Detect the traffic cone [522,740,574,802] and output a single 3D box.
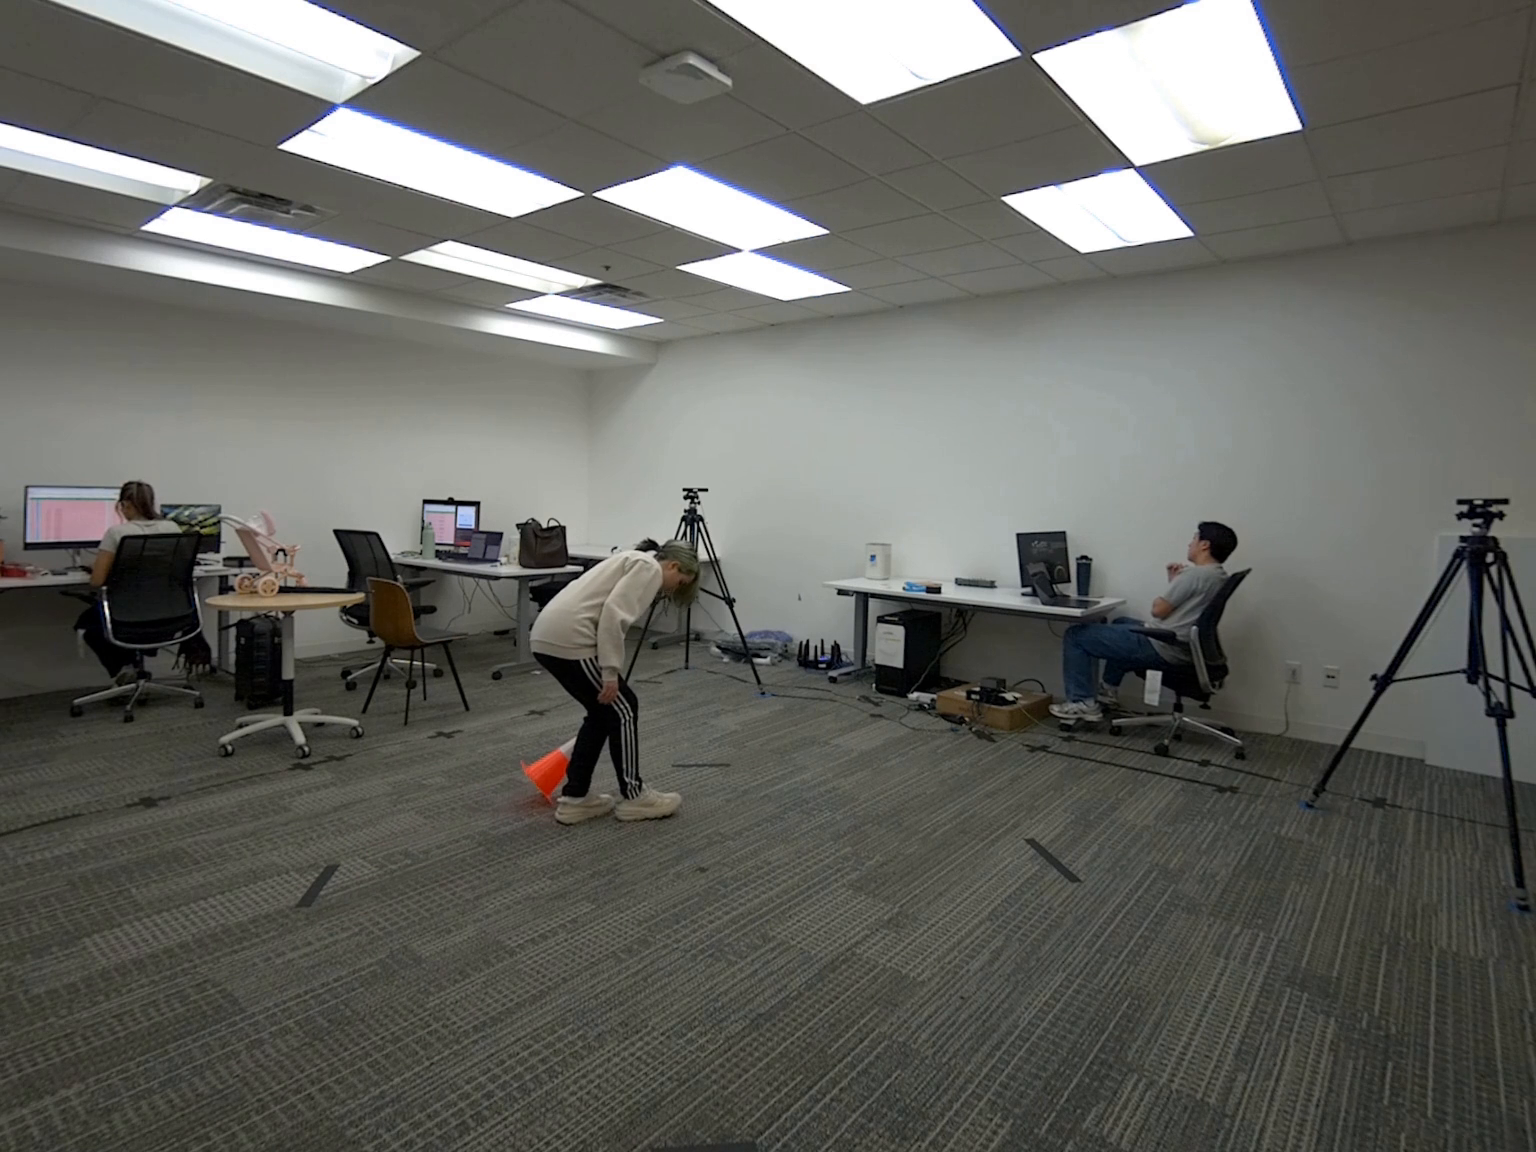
[{"bbox_3d":[-0.908,0.798,3.822,0.382,0.201,0.207,-41,8,-15],"label":"traffic cone"}]
